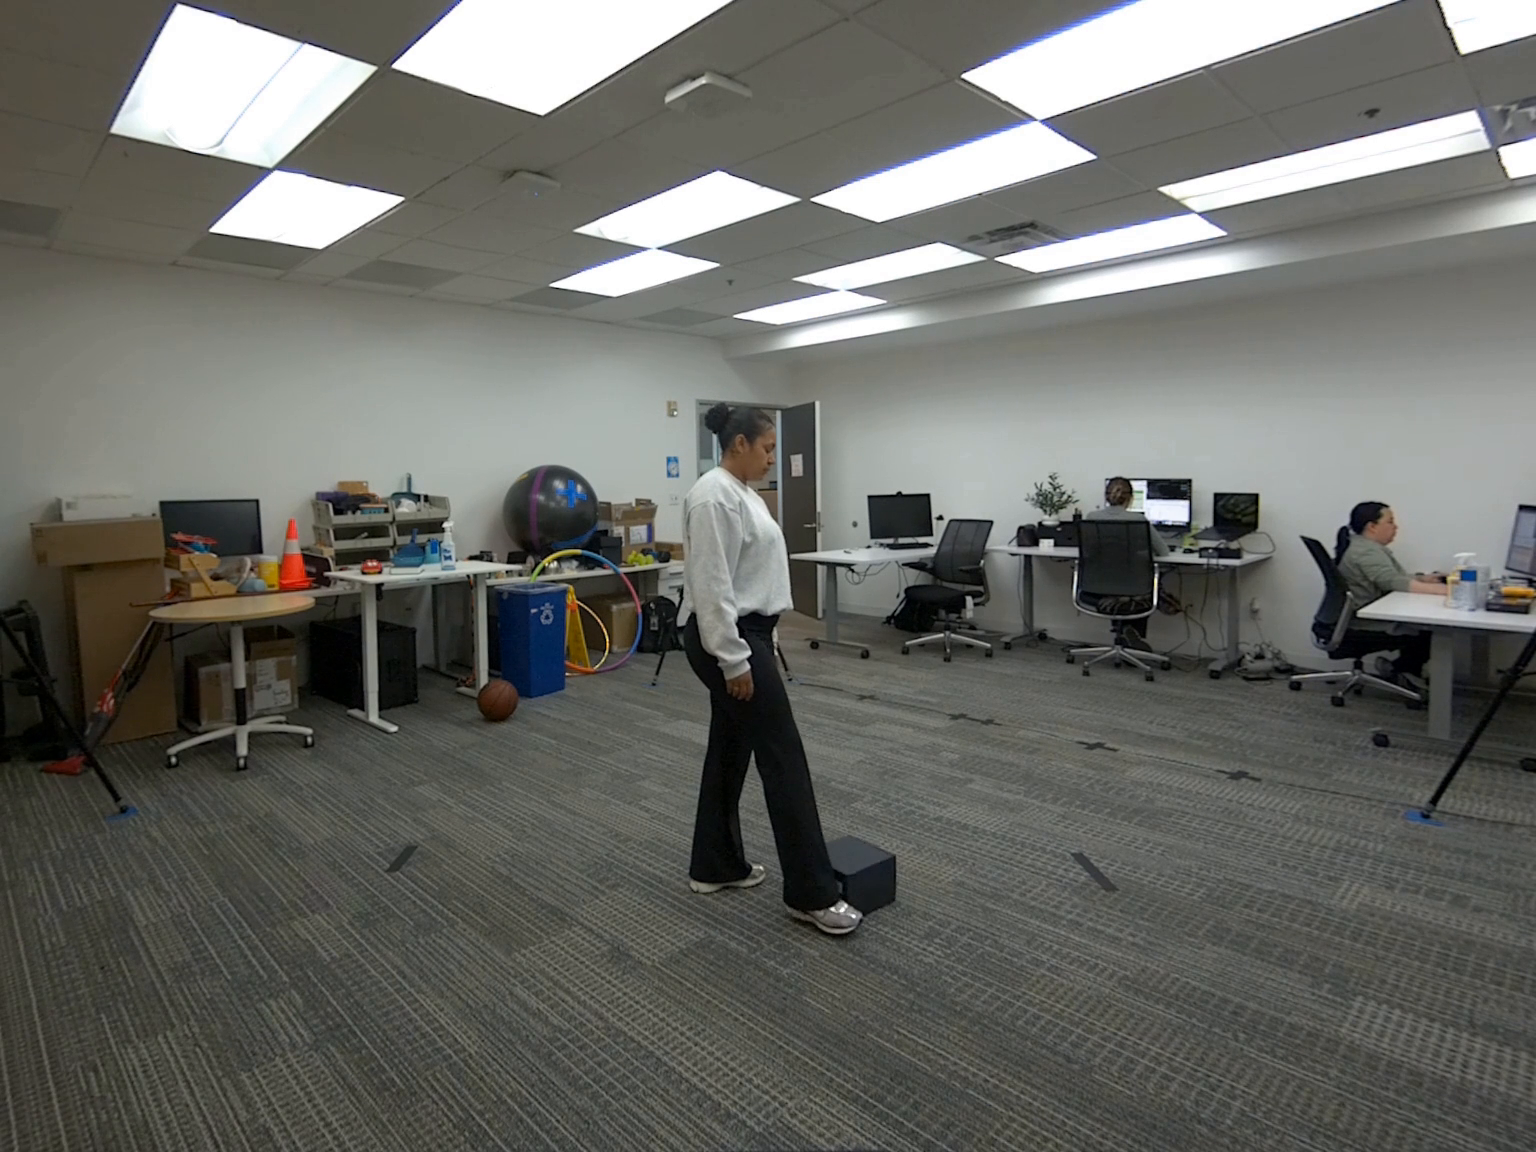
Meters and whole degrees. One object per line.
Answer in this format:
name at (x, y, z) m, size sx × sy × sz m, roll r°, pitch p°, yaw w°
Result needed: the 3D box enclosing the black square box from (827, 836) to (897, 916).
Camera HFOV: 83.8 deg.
black square box at (0.263, 0.982, 2.818) m, size 0.222 × 0.155 × 0.224 m, roll -6°, pitch 8°, yaw -39°
